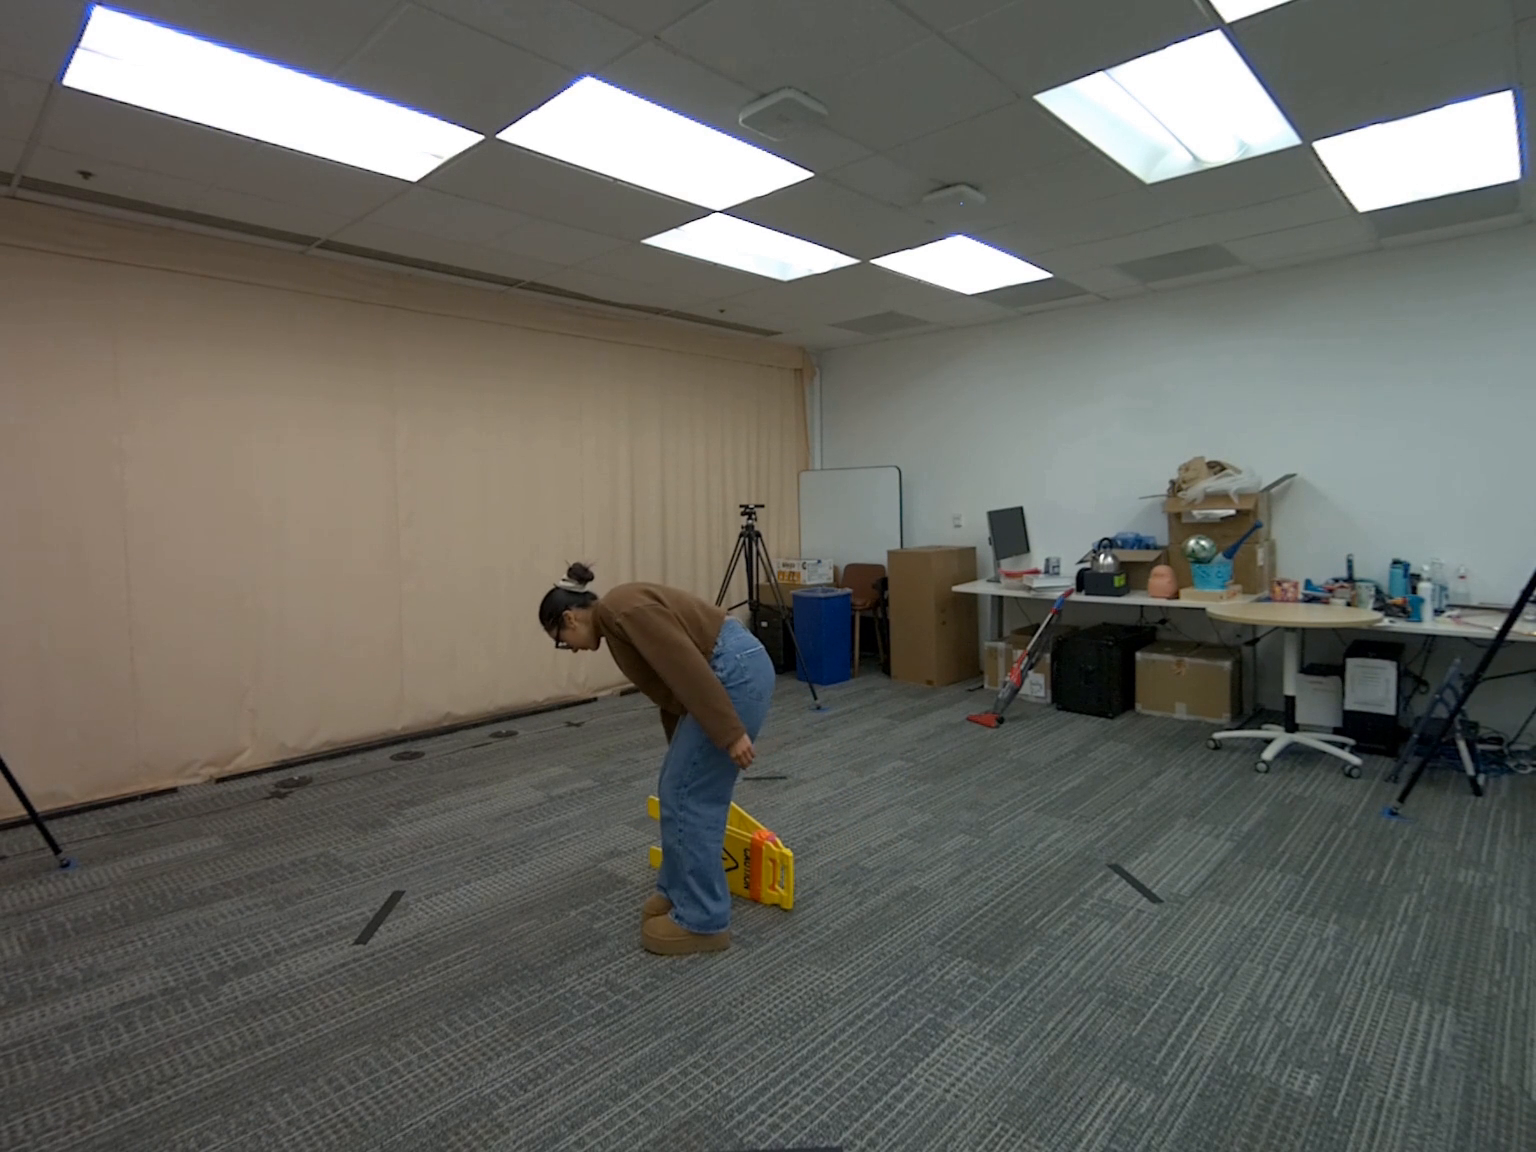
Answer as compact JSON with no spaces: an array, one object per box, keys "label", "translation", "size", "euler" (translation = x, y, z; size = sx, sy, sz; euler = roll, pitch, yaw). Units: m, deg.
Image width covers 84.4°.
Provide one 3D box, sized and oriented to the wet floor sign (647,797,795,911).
[{"label":"wet floor sign","translation":[-0.140,1.004,3.103],"size":[0.281,0.281,0.668],"euler":[-4,8,-42]}]
